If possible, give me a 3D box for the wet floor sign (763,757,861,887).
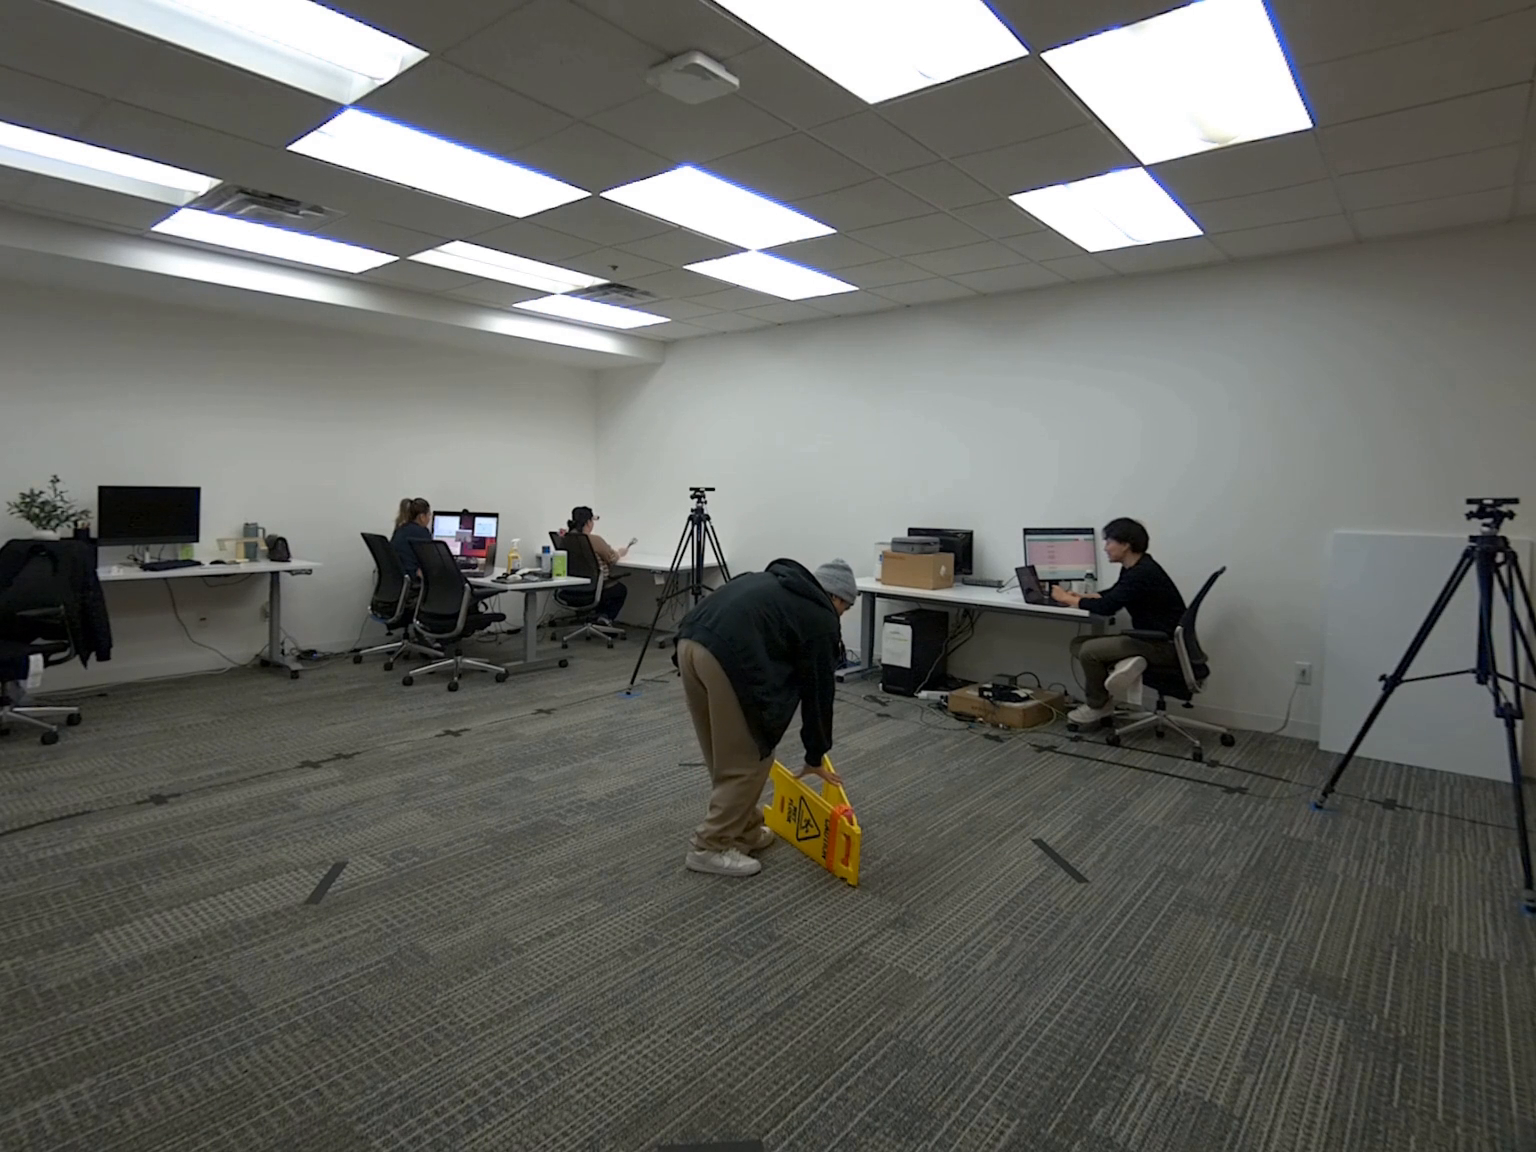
[{"bbox_3d":[0.210,0.935,3.278,0.284,0.281,0.662,2,7,-18],"label":"wet floor sign"}]
